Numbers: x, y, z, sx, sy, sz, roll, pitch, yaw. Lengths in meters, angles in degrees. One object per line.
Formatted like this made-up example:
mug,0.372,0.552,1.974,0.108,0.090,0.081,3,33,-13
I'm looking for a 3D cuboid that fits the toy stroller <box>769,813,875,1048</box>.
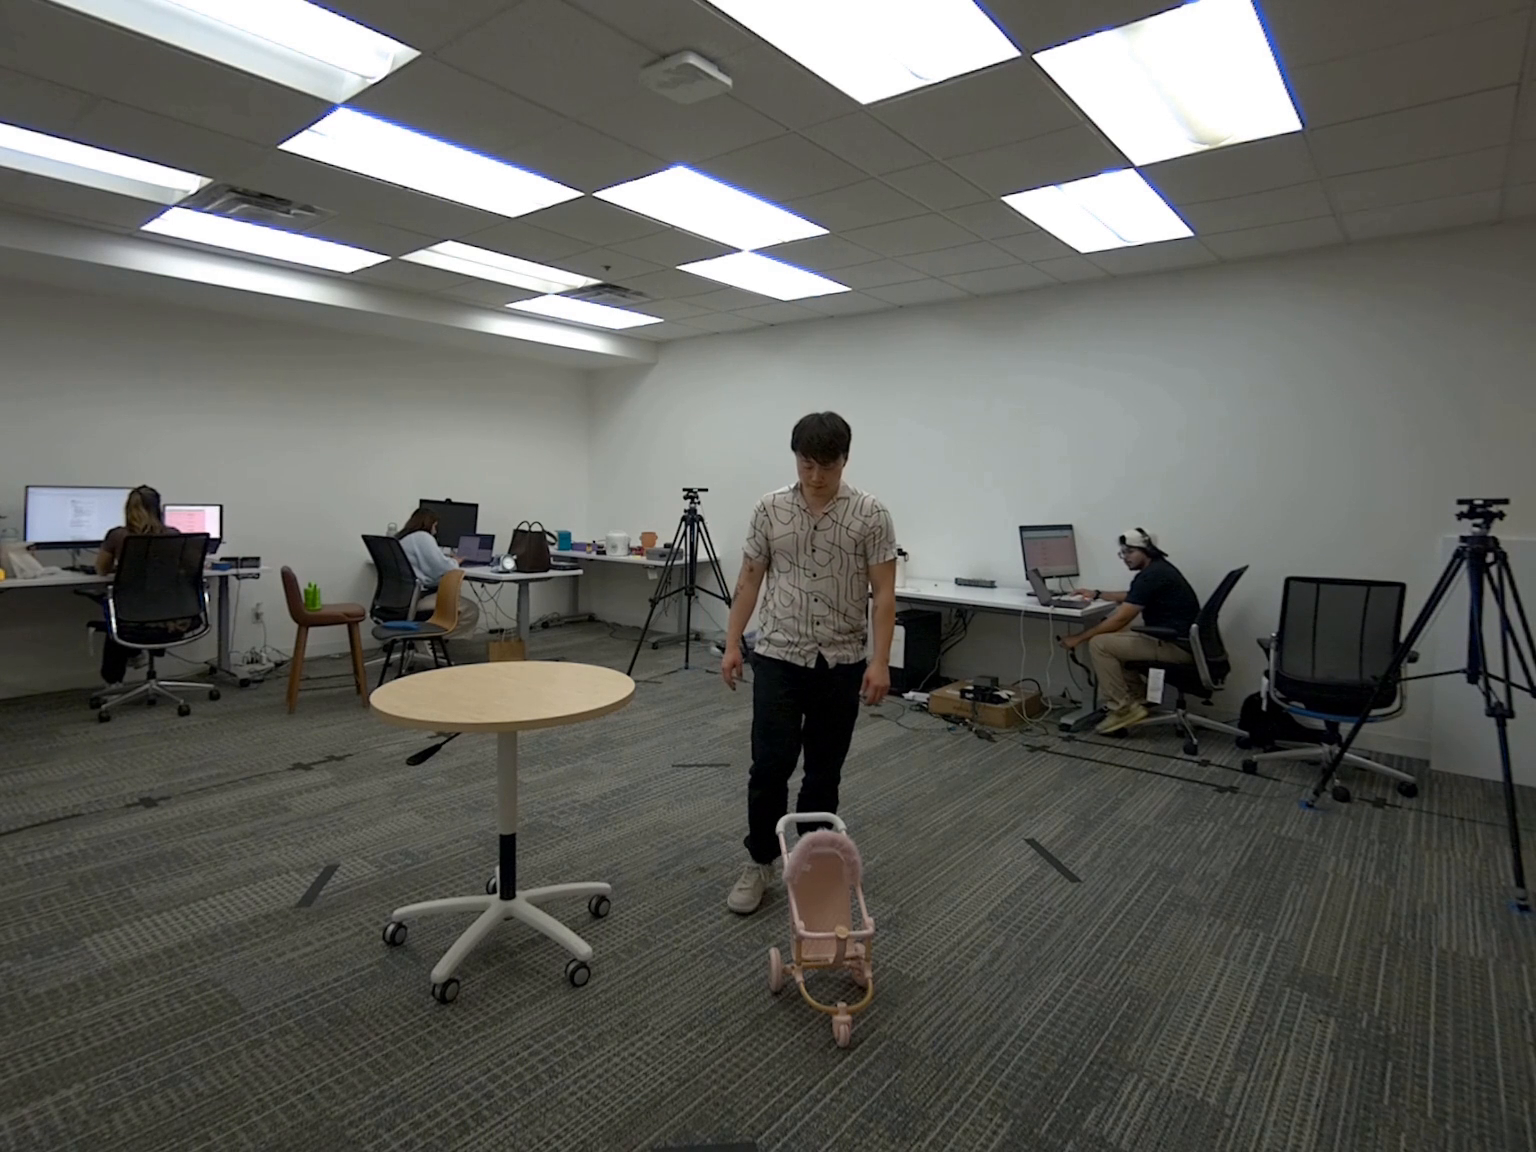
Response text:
toy stroller,0.152,0.937,2.311,0.280,0.541,0.339,1,-12,-6
